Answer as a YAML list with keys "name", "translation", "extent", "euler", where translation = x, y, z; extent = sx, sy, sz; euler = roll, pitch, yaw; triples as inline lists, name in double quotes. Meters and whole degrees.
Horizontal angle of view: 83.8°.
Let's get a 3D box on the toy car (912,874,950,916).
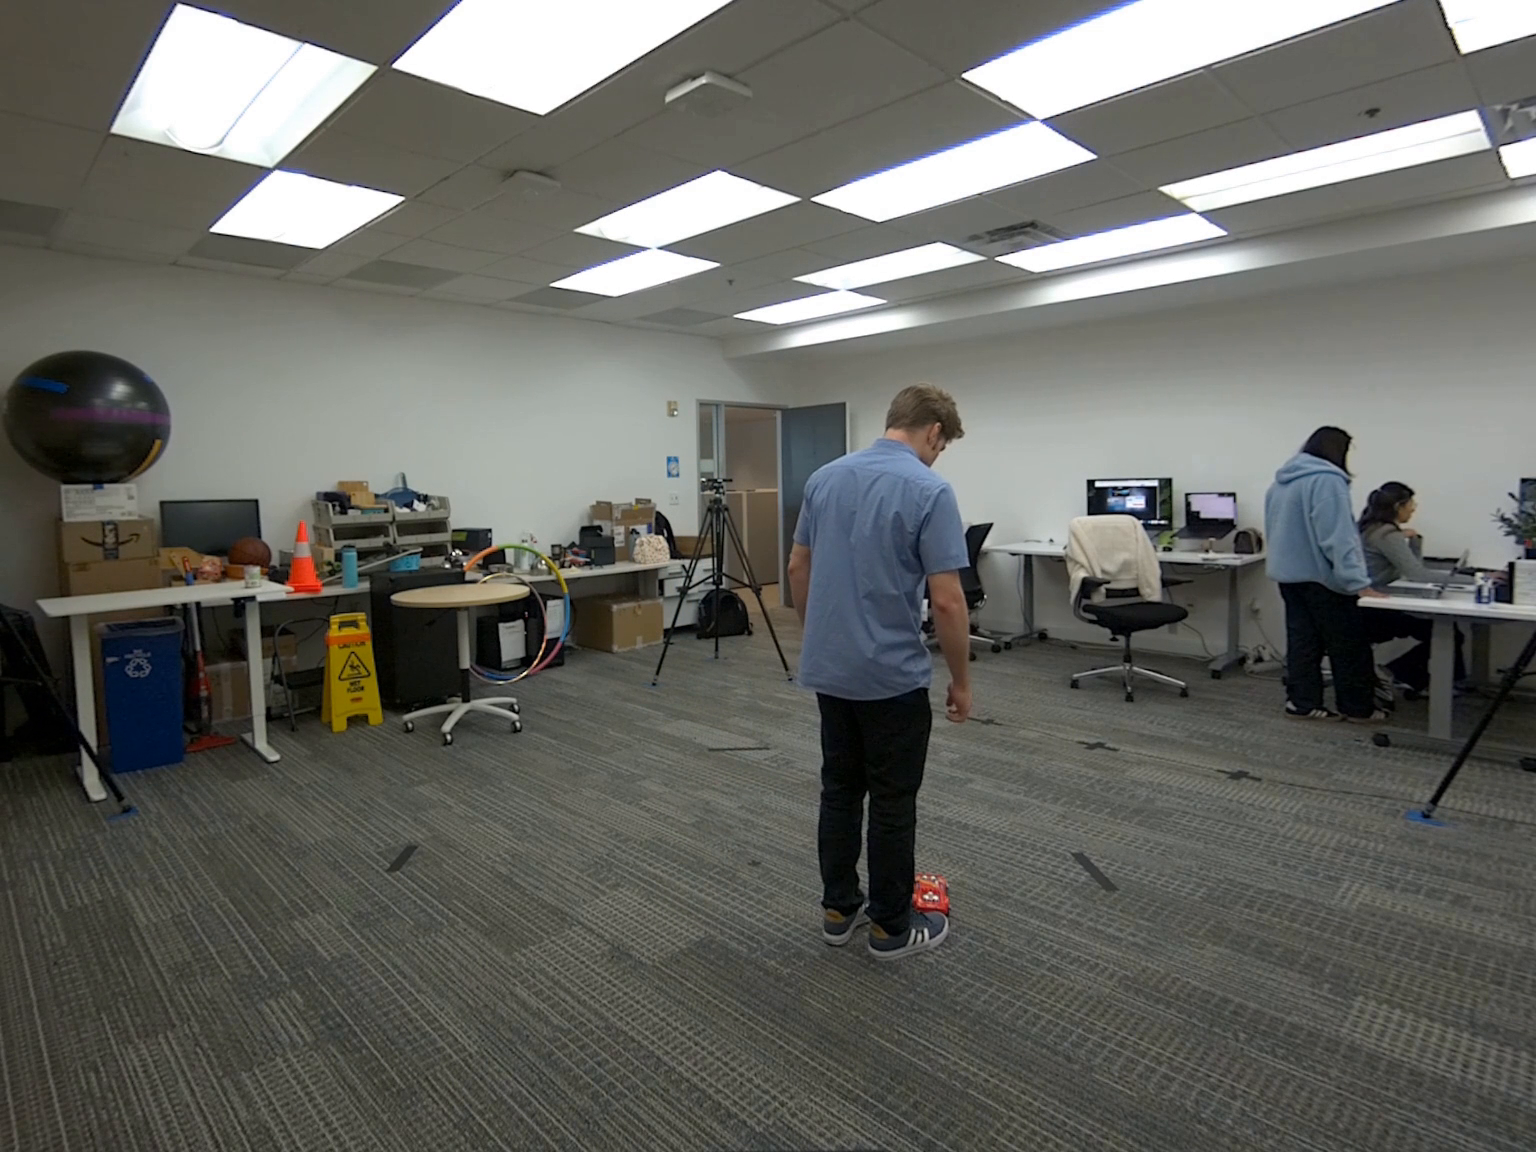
- name: "toy car"
  translation: [0.532, 1.044, 2.775]
  extent: [0.132, 0.083, 0.250]
  euler: [2, -4, 10]
